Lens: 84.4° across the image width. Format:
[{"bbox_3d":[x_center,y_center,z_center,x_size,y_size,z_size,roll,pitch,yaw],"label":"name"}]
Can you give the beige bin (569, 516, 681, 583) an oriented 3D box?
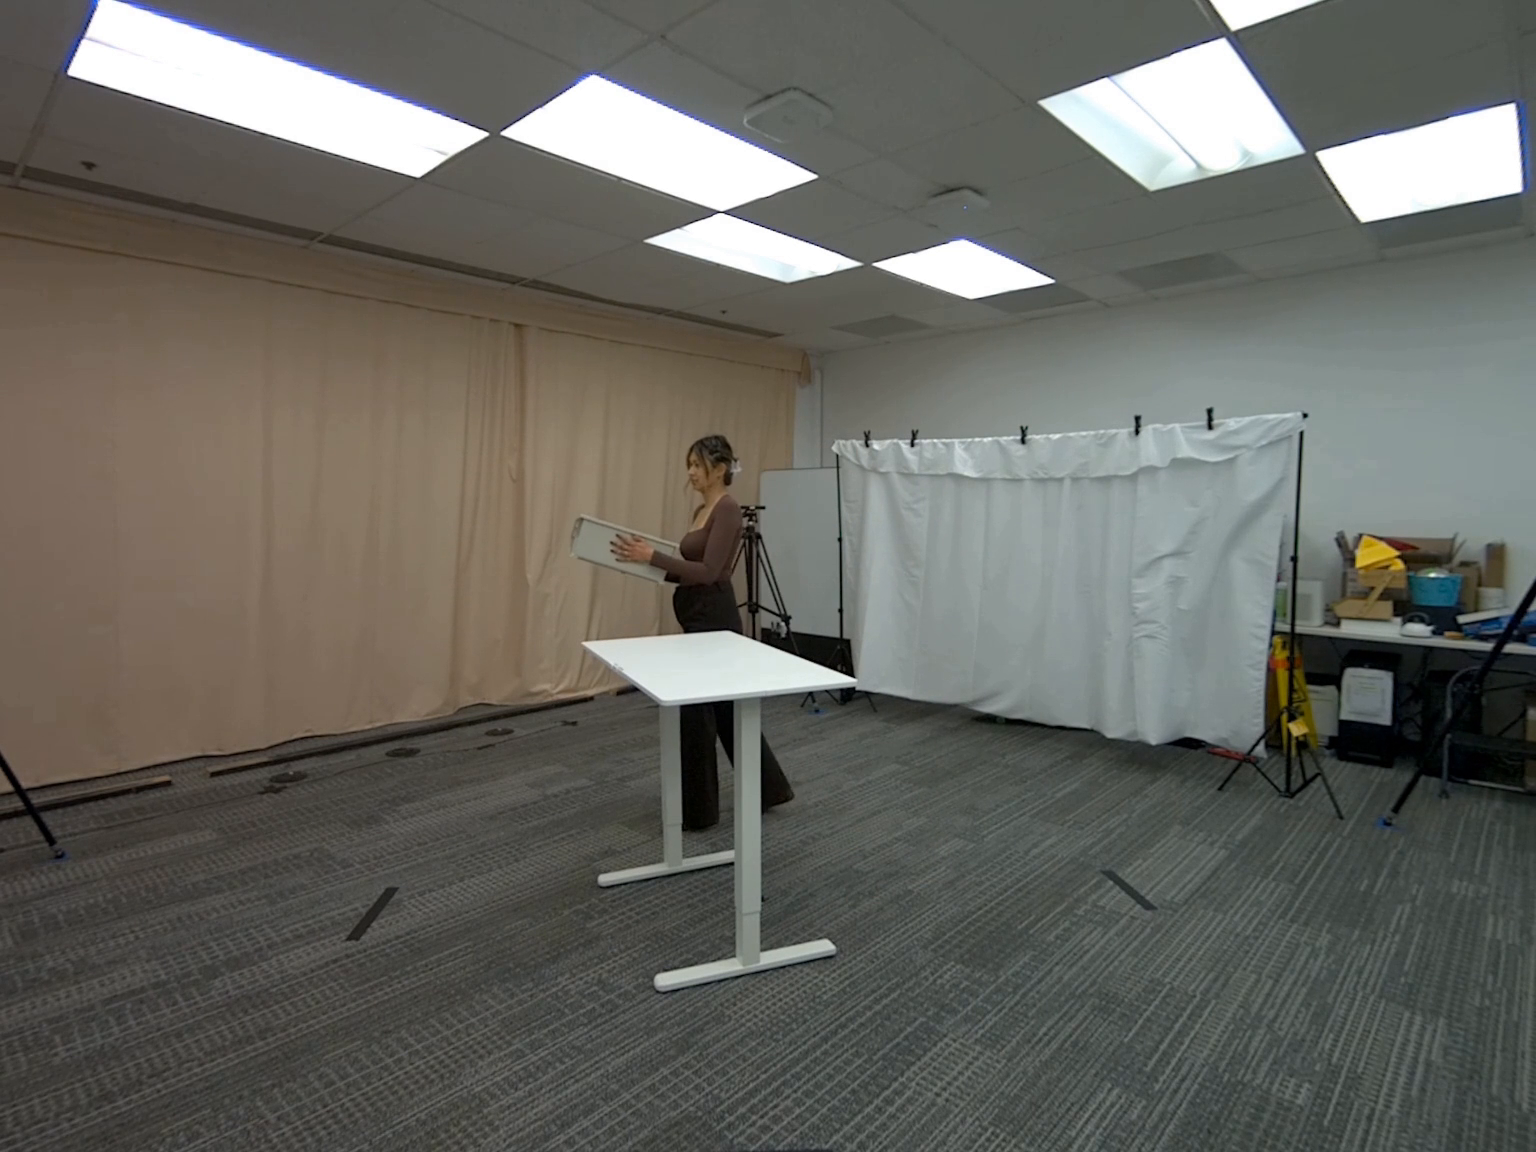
[{"bbox_3d":[-0.628,-0.112,3.614,0.417,0.189,0.383,18,0,-12],"label":"beige bin"}]
